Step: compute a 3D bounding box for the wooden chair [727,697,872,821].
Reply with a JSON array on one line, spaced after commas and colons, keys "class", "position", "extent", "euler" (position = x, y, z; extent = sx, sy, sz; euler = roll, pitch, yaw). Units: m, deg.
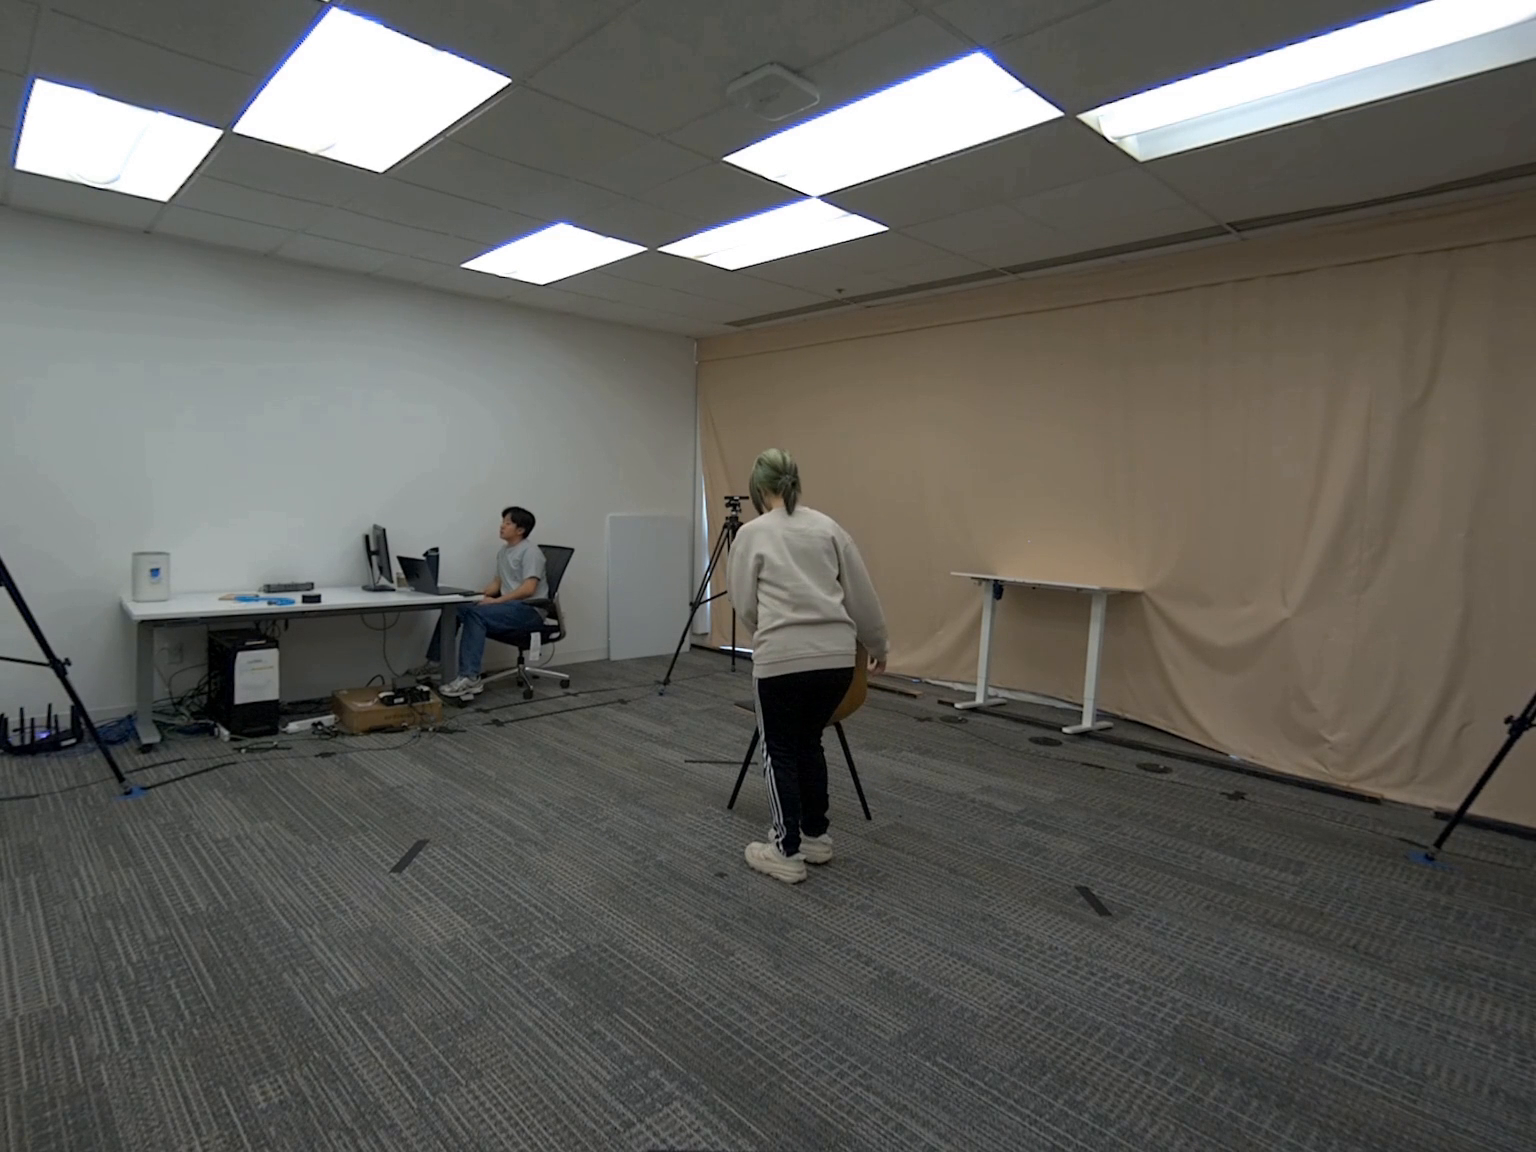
[{"class": "wooden chair", "position": [0.139, 0.635, 3.709], "extent": [0.467, 0.873, 0.537], "euler": [-1, 8, -39]}]
